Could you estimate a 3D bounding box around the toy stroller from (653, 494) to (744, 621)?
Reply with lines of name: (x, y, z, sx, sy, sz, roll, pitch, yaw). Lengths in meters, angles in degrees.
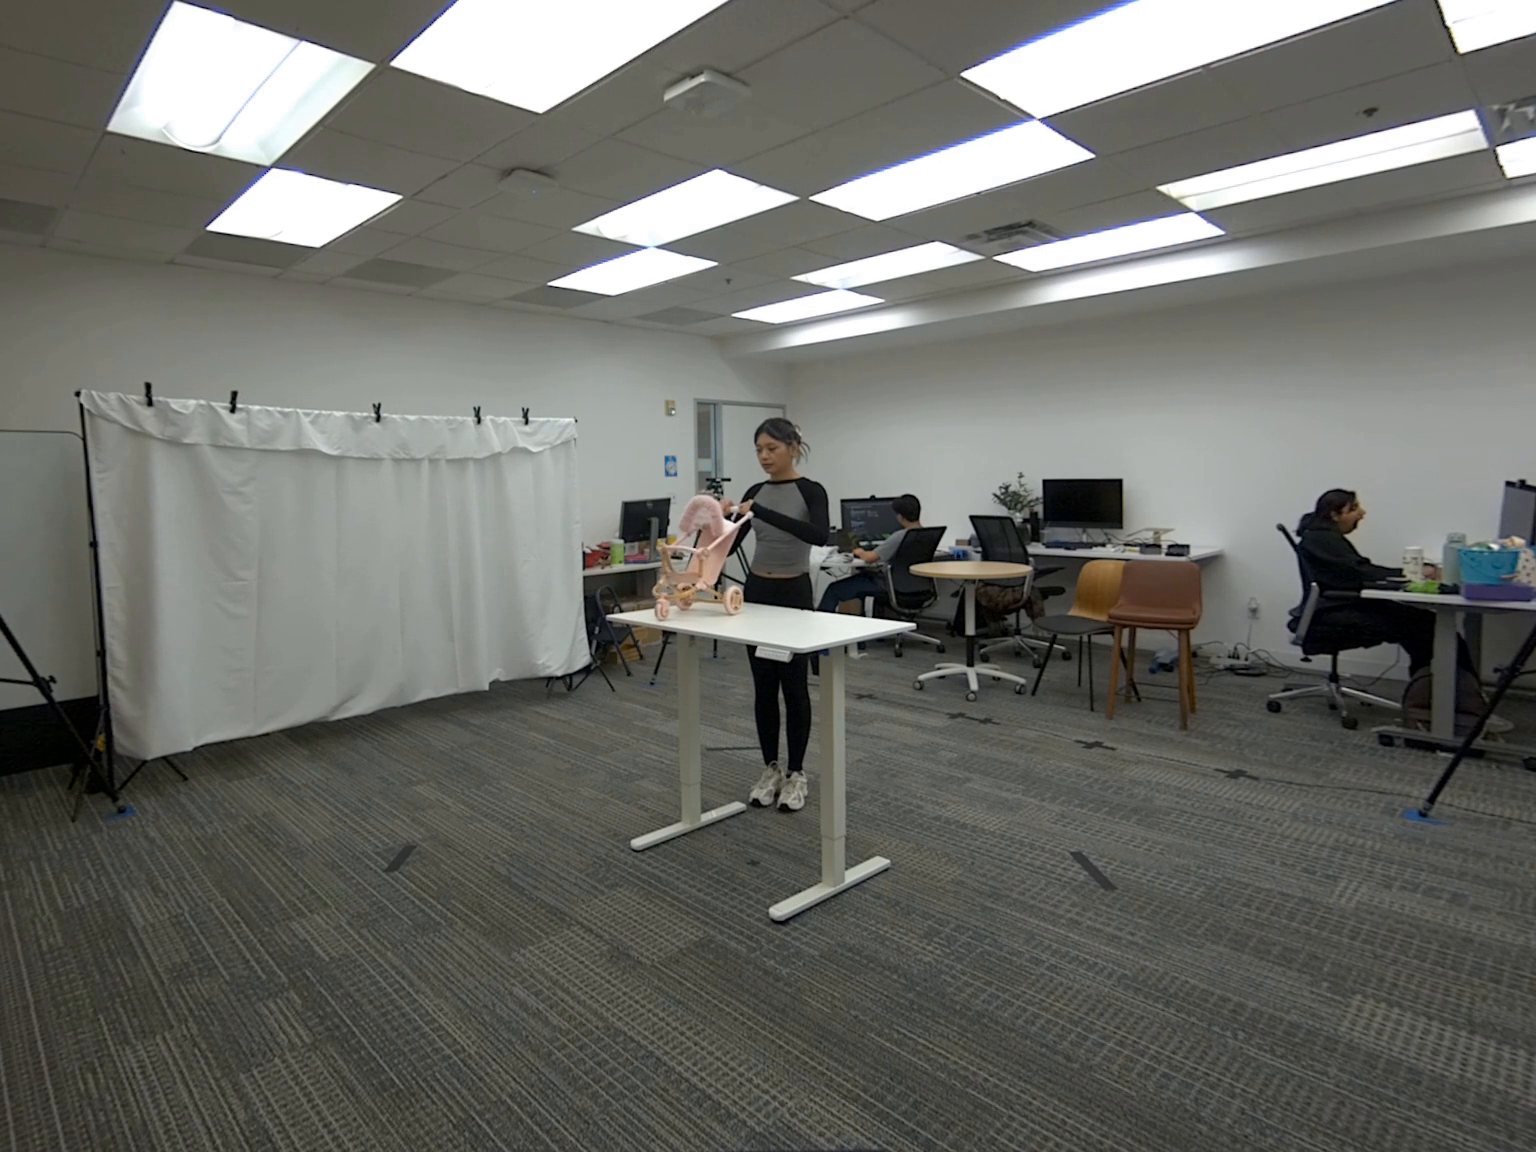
toy stroller: (-0.264, -0.074, 3.260, 0.290, 0.539, 0.329, 2, -14, 43)
